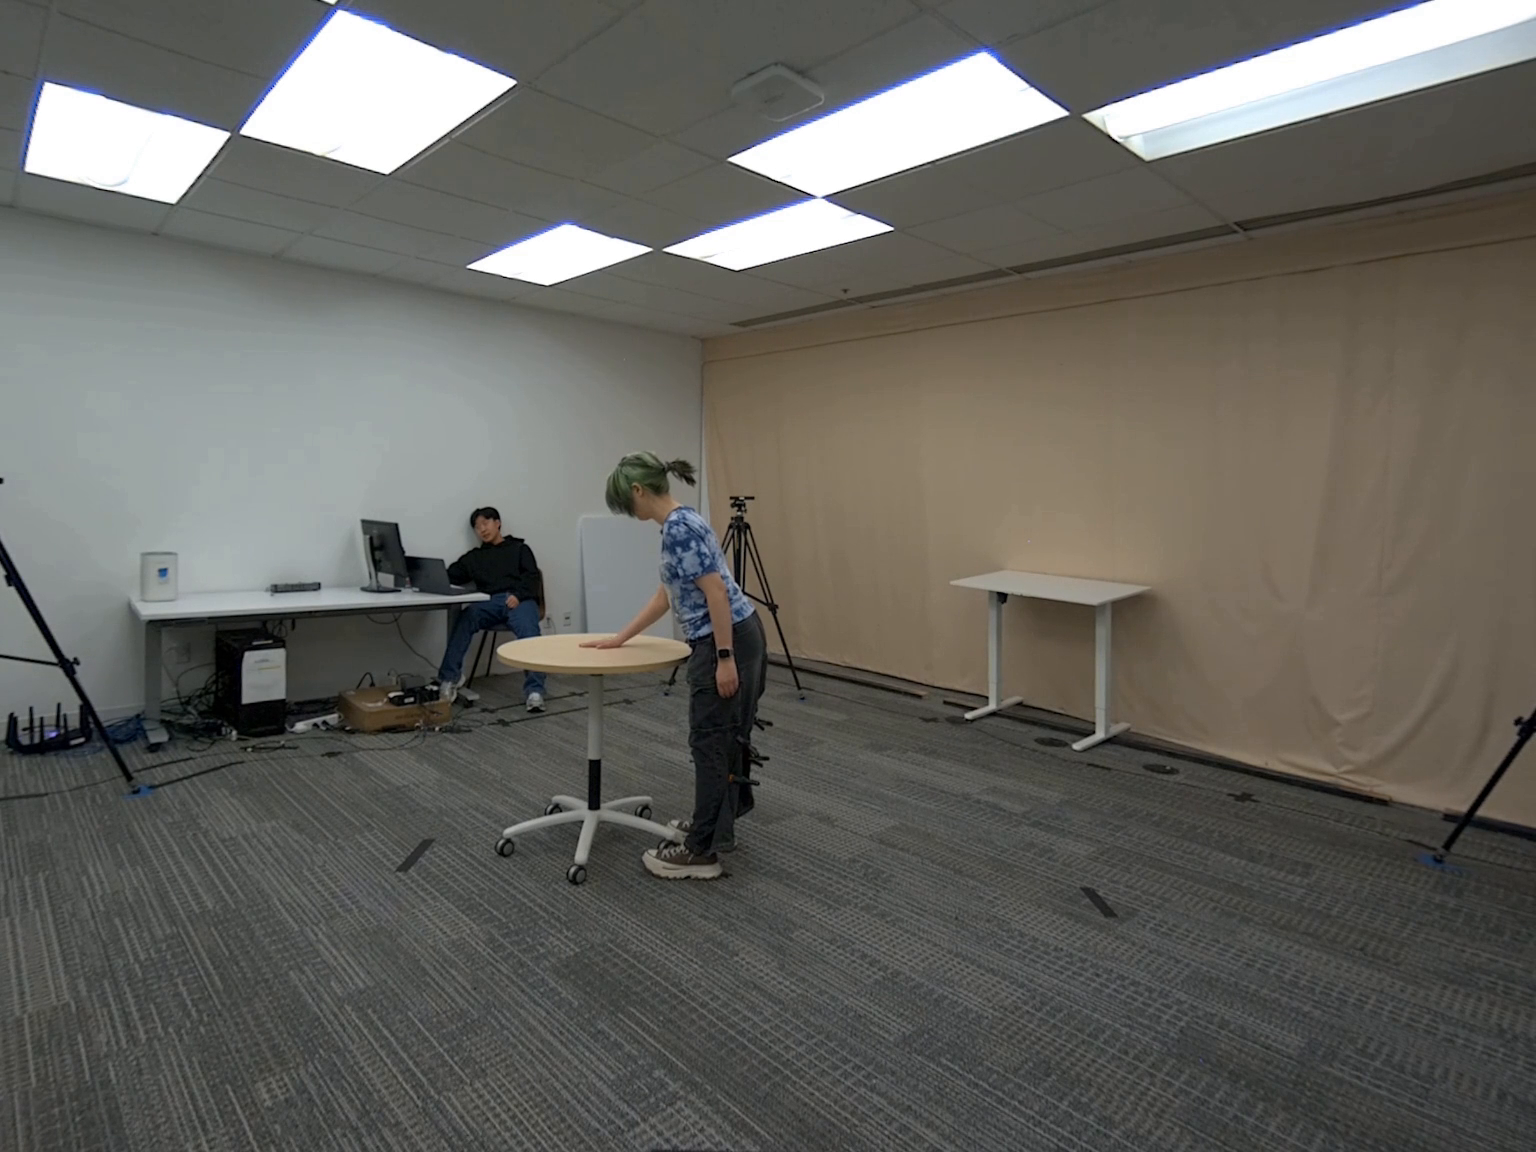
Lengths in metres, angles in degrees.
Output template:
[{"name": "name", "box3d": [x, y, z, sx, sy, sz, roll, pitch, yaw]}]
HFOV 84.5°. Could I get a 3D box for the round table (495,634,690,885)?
[{"name": "round table", "box3d": [-0.680, 0.675, 3.350, 0.784, 0.784, 0.788, 1, 4, -1]}]
